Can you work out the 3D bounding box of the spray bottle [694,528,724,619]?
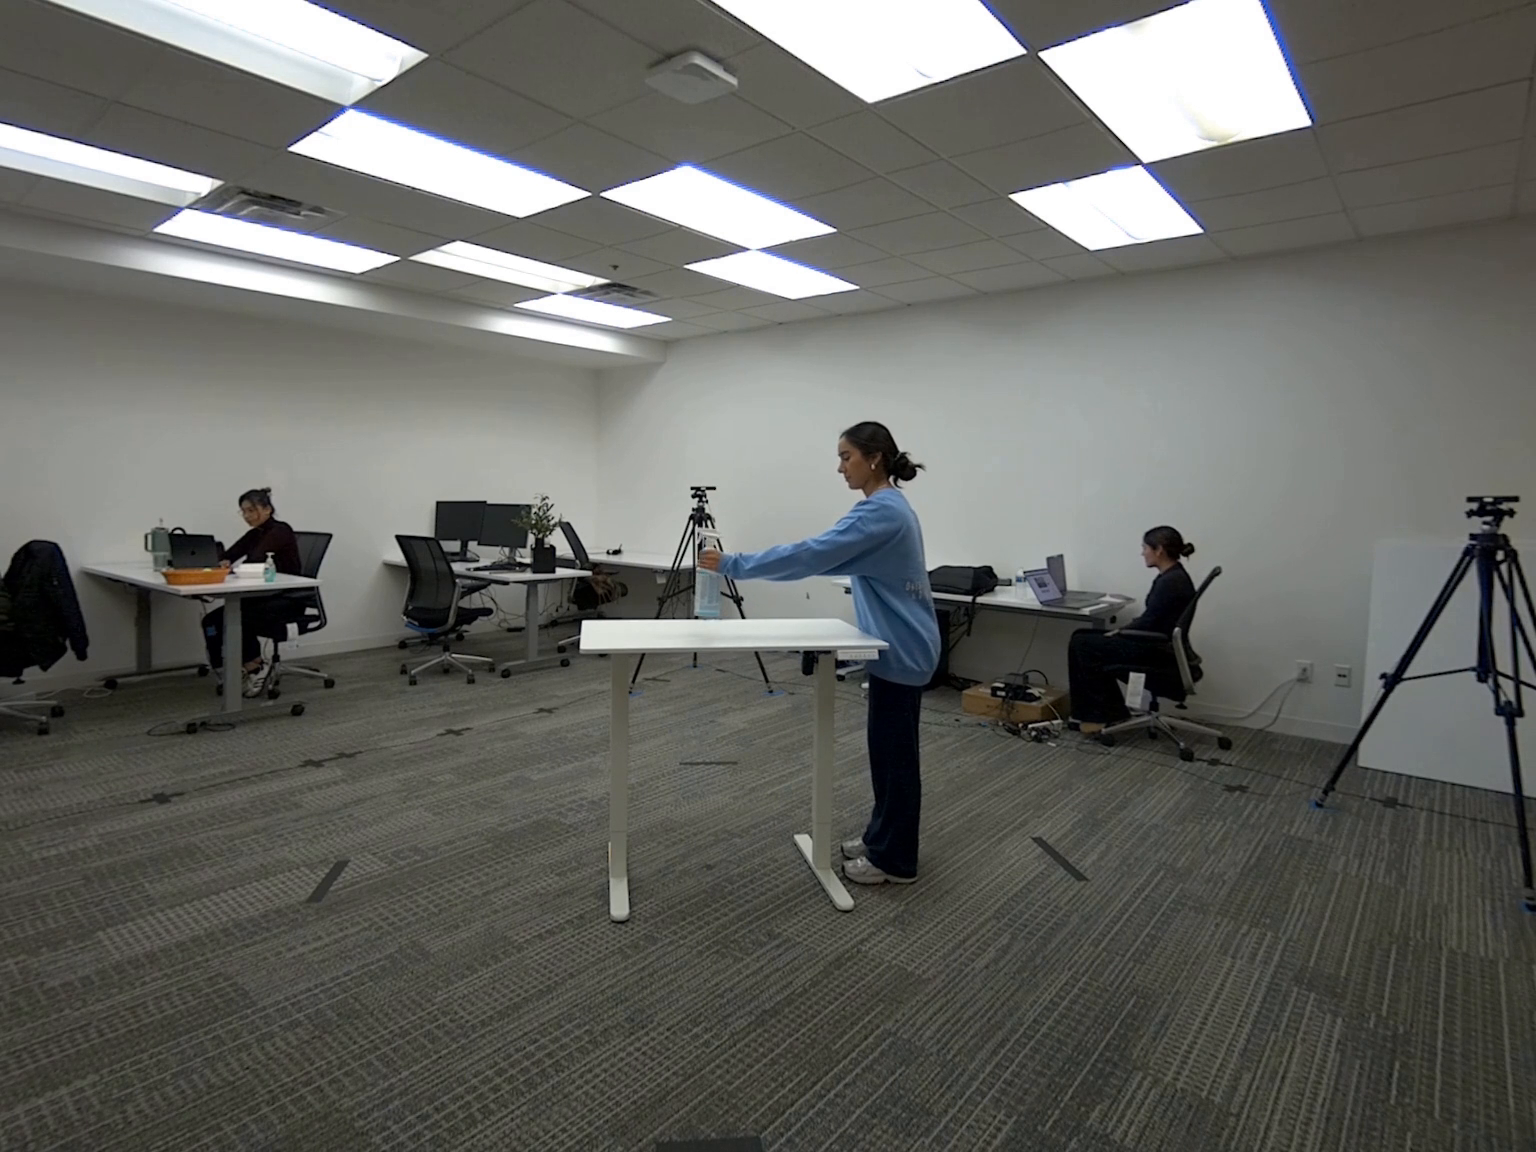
[{"bbox_3d":[-0.203,-0.011,2.885,0.090,0.297,0.087,2,0,0],"label":"spray bottle"}]
